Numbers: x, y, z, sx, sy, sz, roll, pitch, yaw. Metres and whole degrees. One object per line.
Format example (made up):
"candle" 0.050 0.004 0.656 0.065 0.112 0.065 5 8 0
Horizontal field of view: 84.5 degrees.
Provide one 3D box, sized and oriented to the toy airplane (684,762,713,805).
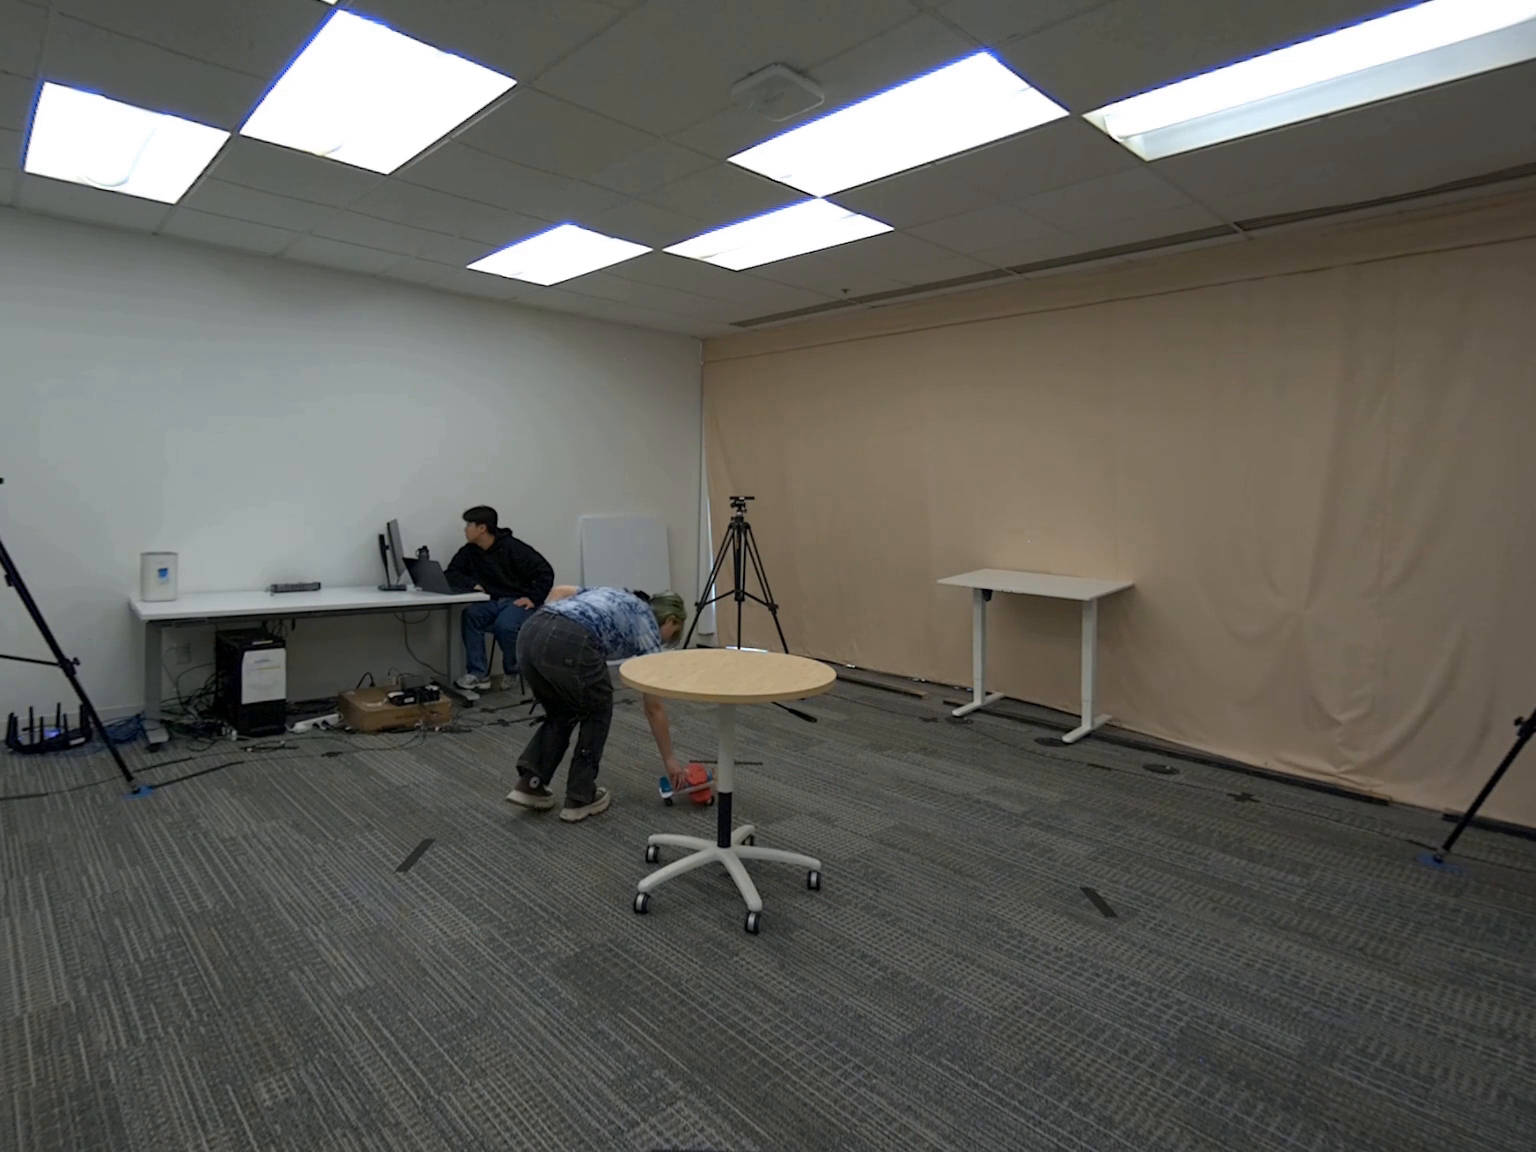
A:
"toy airplane" -0.368 0.962 3.815 0.253 0.156 0.257 -1 4 -42
